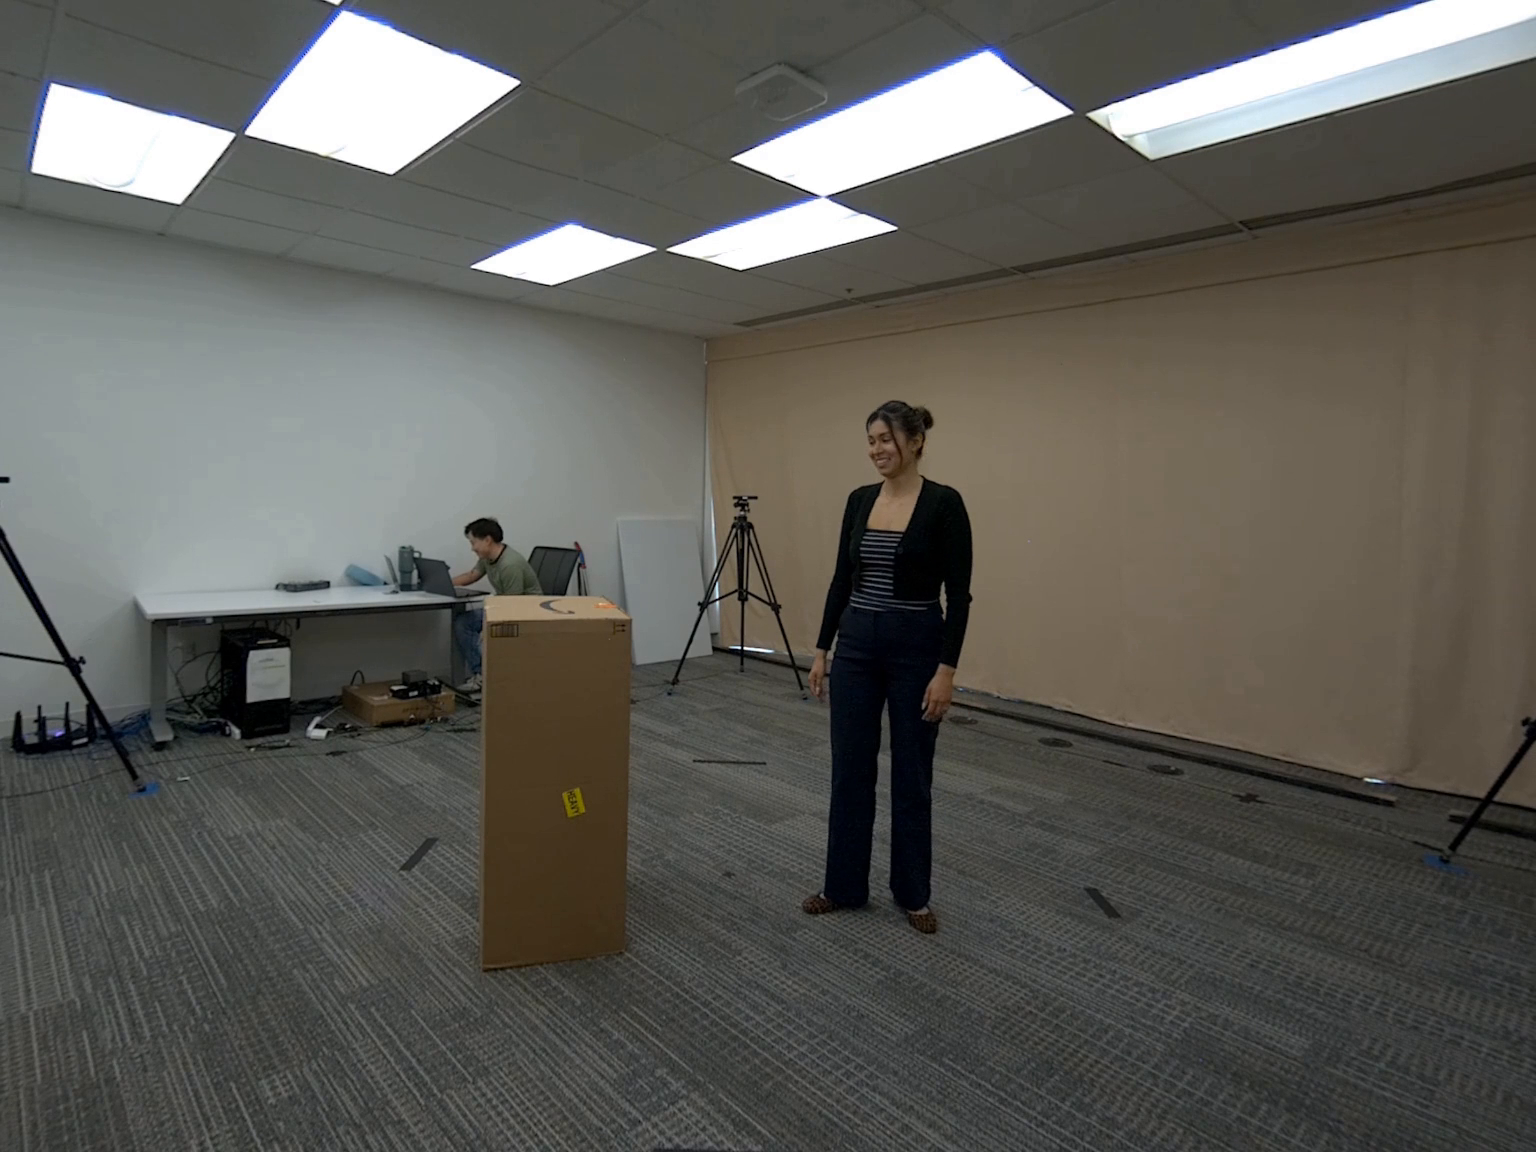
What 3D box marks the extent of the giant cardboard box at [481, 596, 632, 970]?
[{"bbox_3d":[-0.713,0.613,2.742,0.420,1.023,0.587,0,3,-19],"label":"giant cardboard box"}]
